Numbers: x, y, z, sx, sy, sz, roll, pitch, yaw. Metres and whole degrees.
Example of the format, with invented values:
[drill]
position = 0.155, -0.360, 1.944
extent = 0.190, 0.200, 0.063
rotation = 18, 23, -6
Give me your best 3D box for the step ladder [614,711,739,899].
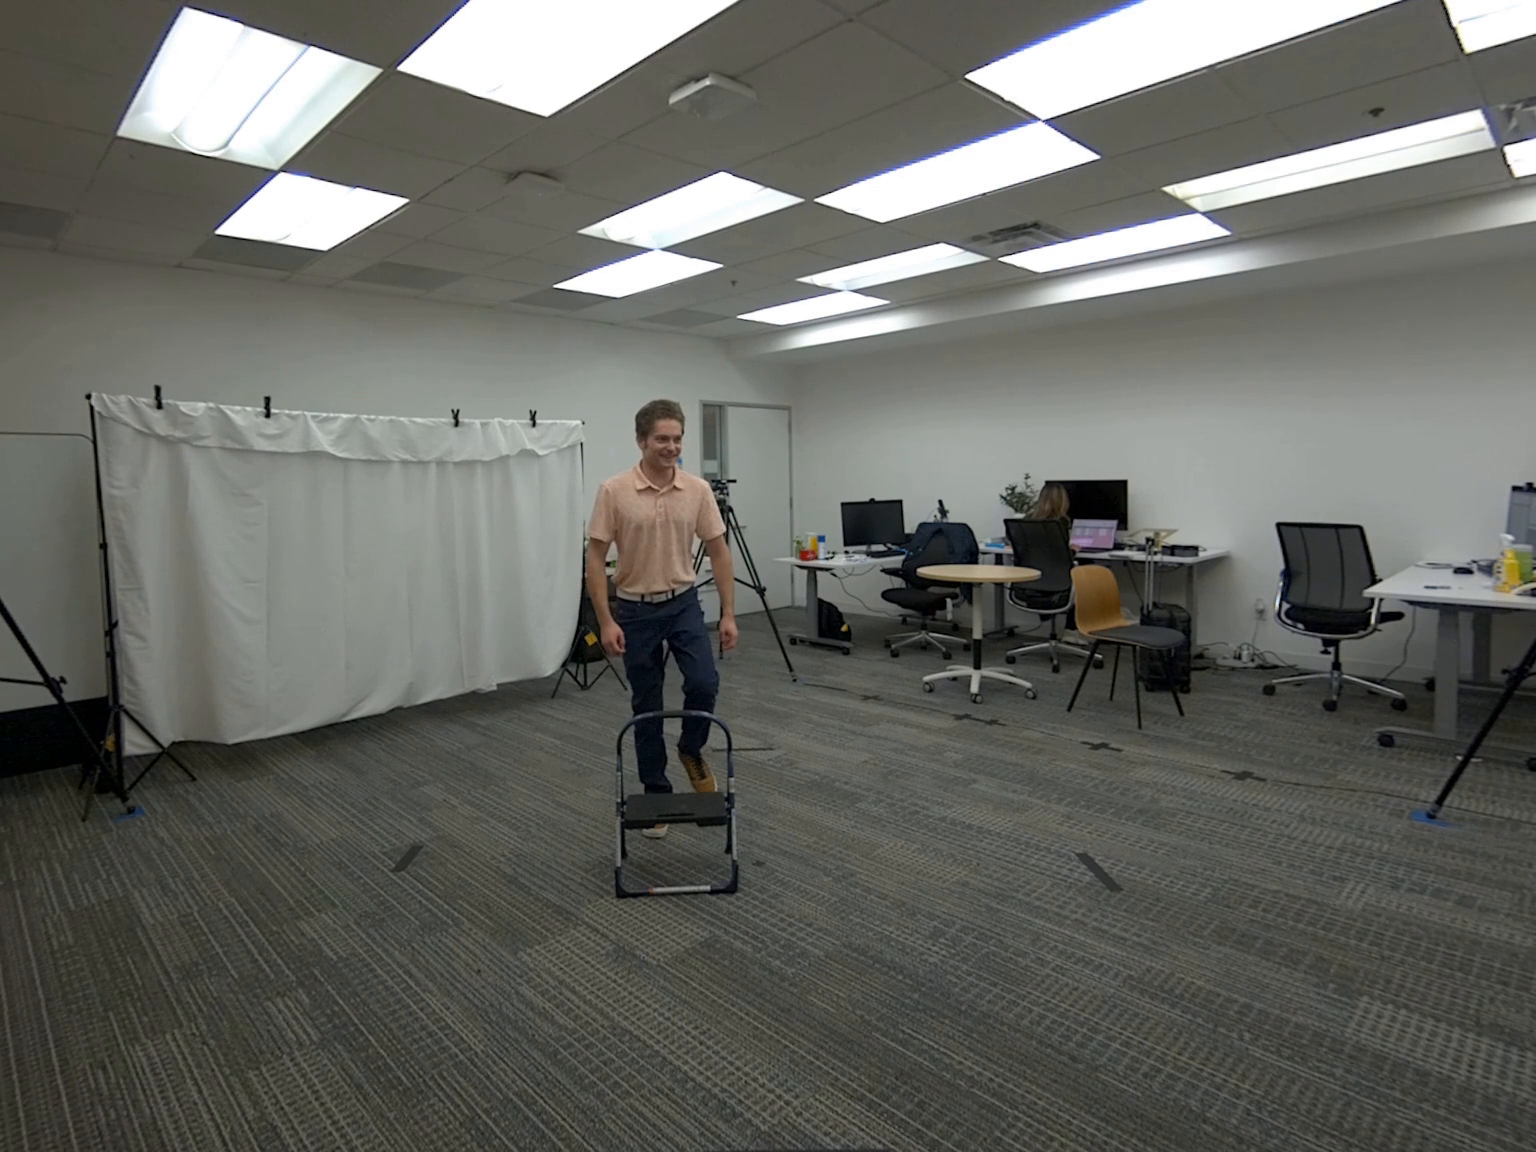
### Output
[step ladder]
position = -0.328, 0.765, 3.025
extent = 0.428, 0.603, 0.353
rotation = -2, 5, -6
